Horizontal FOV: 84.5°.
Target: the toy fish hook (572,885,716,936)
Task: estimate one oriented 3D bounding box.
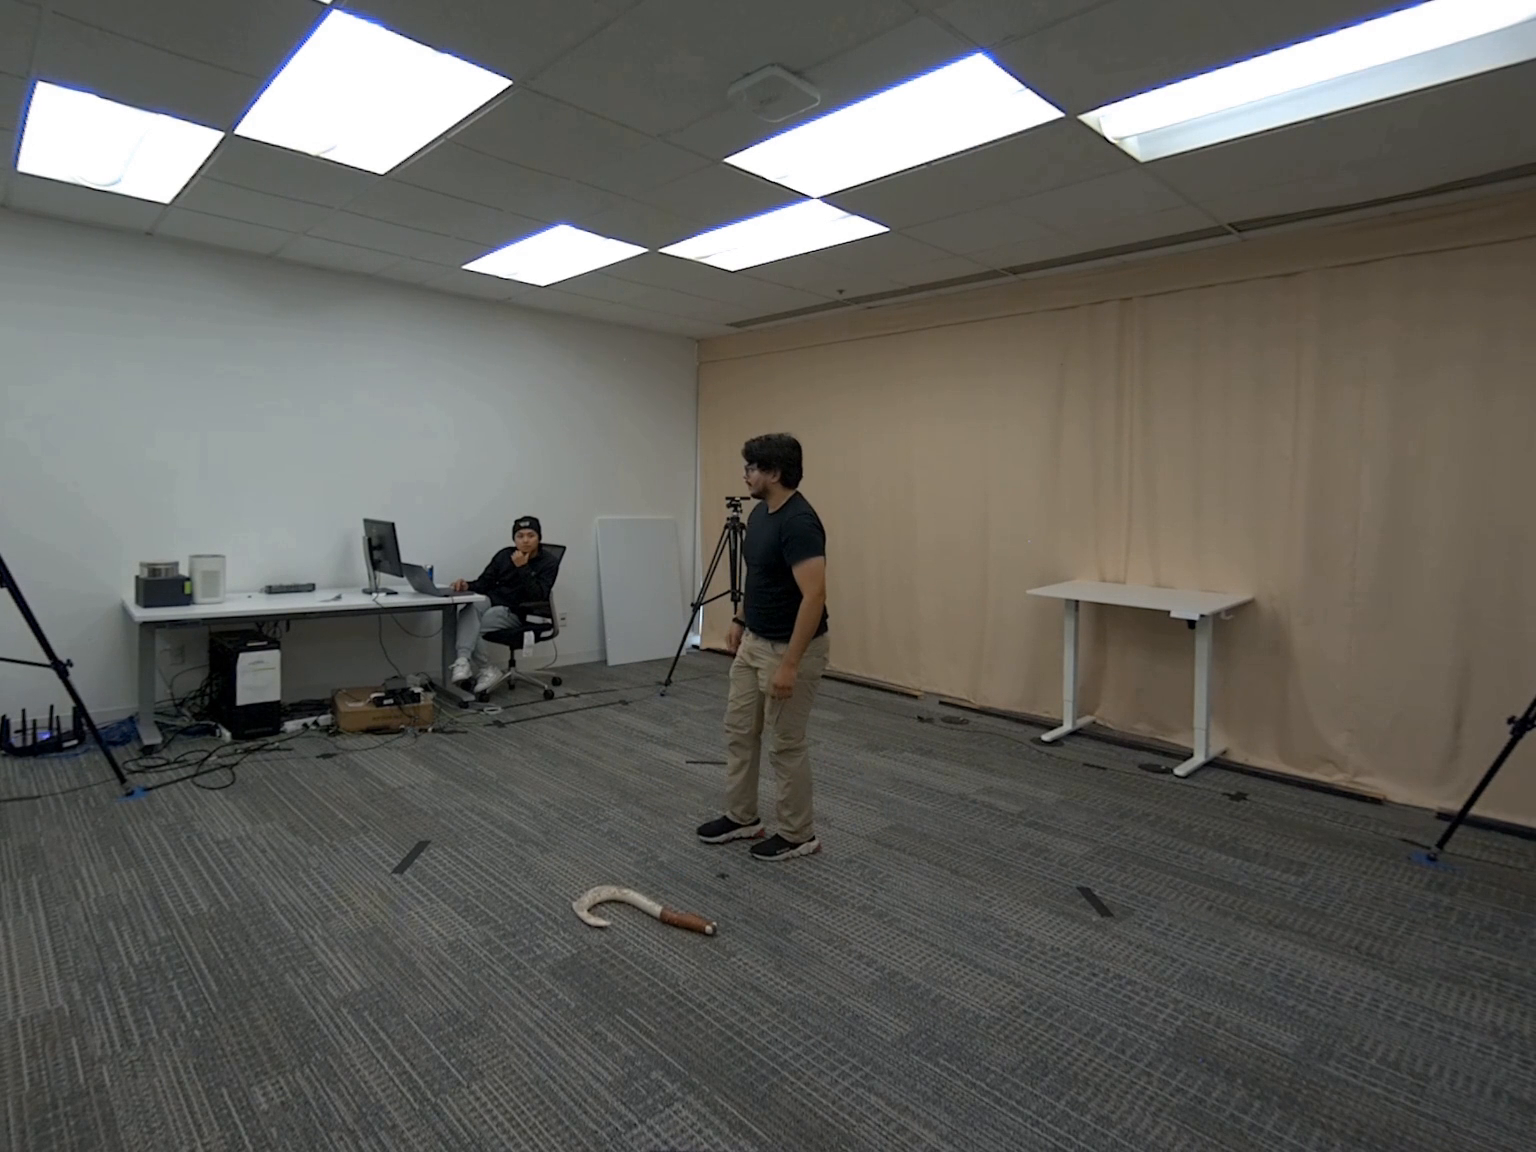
[{"bbox_3d":[-0.418,1.117,2.748,0.517,0.048,0.221,3,12,29],"label":"toy fish hook"}]
